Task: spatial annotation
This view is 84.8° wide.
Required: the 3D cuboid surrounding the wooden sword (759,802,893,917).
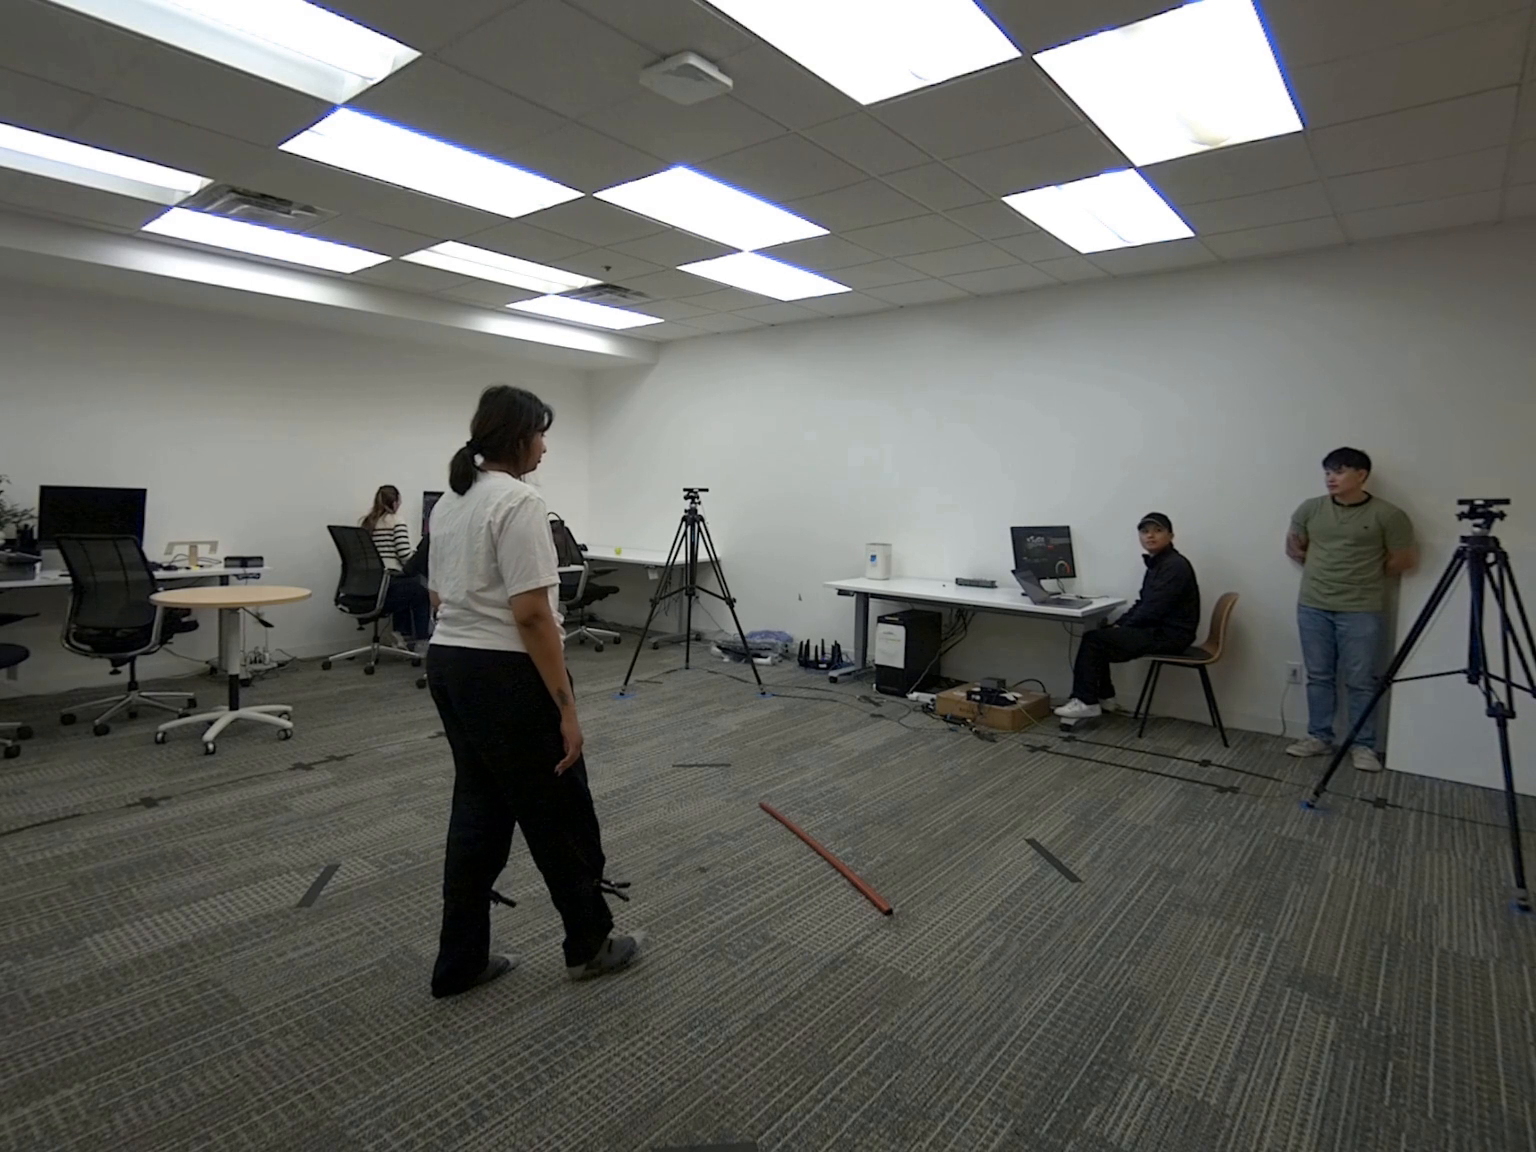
[{"bbox_3d":[0.178,1.042,3.271,0.050,0.024,1.052,-7,8,-23],"label":"wooden sword"}]
